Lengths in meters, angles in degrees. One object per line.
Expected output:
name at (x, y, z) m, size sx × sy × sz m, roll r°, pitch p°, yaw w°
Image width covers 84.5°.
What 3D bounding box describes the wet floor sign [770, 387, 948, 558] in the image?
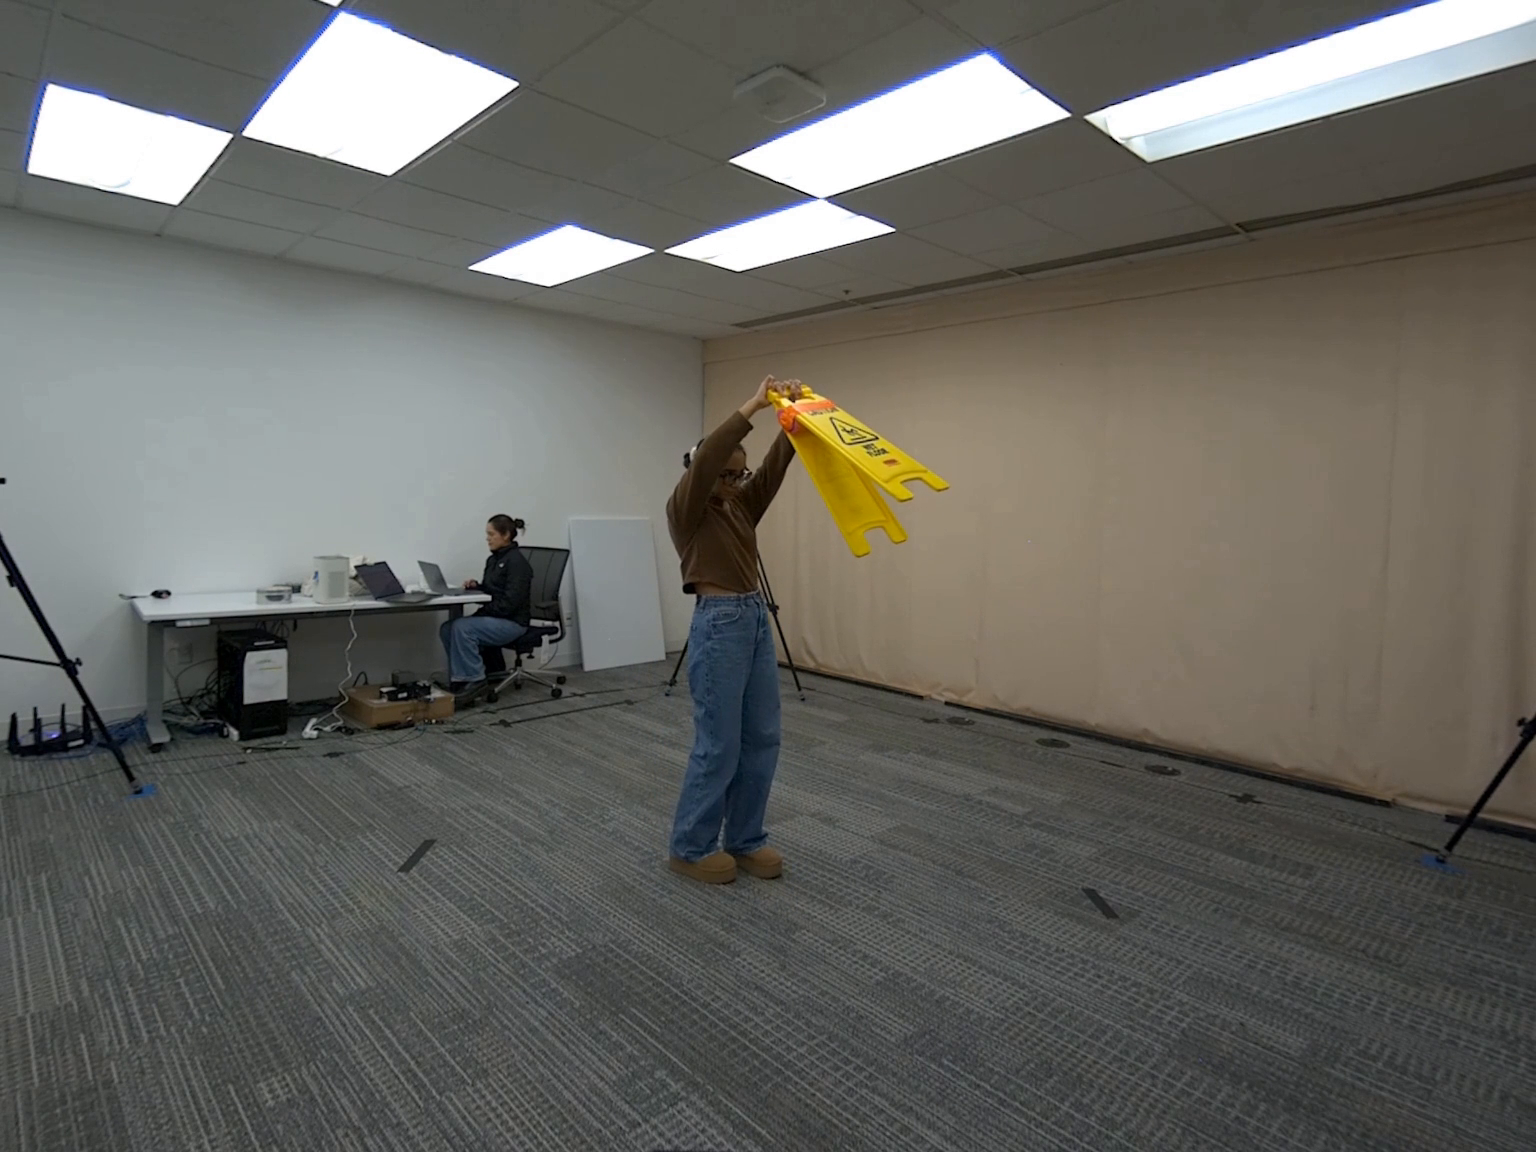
wet floor sign at (0.240, -0.413, 2.814) m, size 0.277 × 0.660 × 0.288 m, roll -16°, pitch -29°, yaw -42°
